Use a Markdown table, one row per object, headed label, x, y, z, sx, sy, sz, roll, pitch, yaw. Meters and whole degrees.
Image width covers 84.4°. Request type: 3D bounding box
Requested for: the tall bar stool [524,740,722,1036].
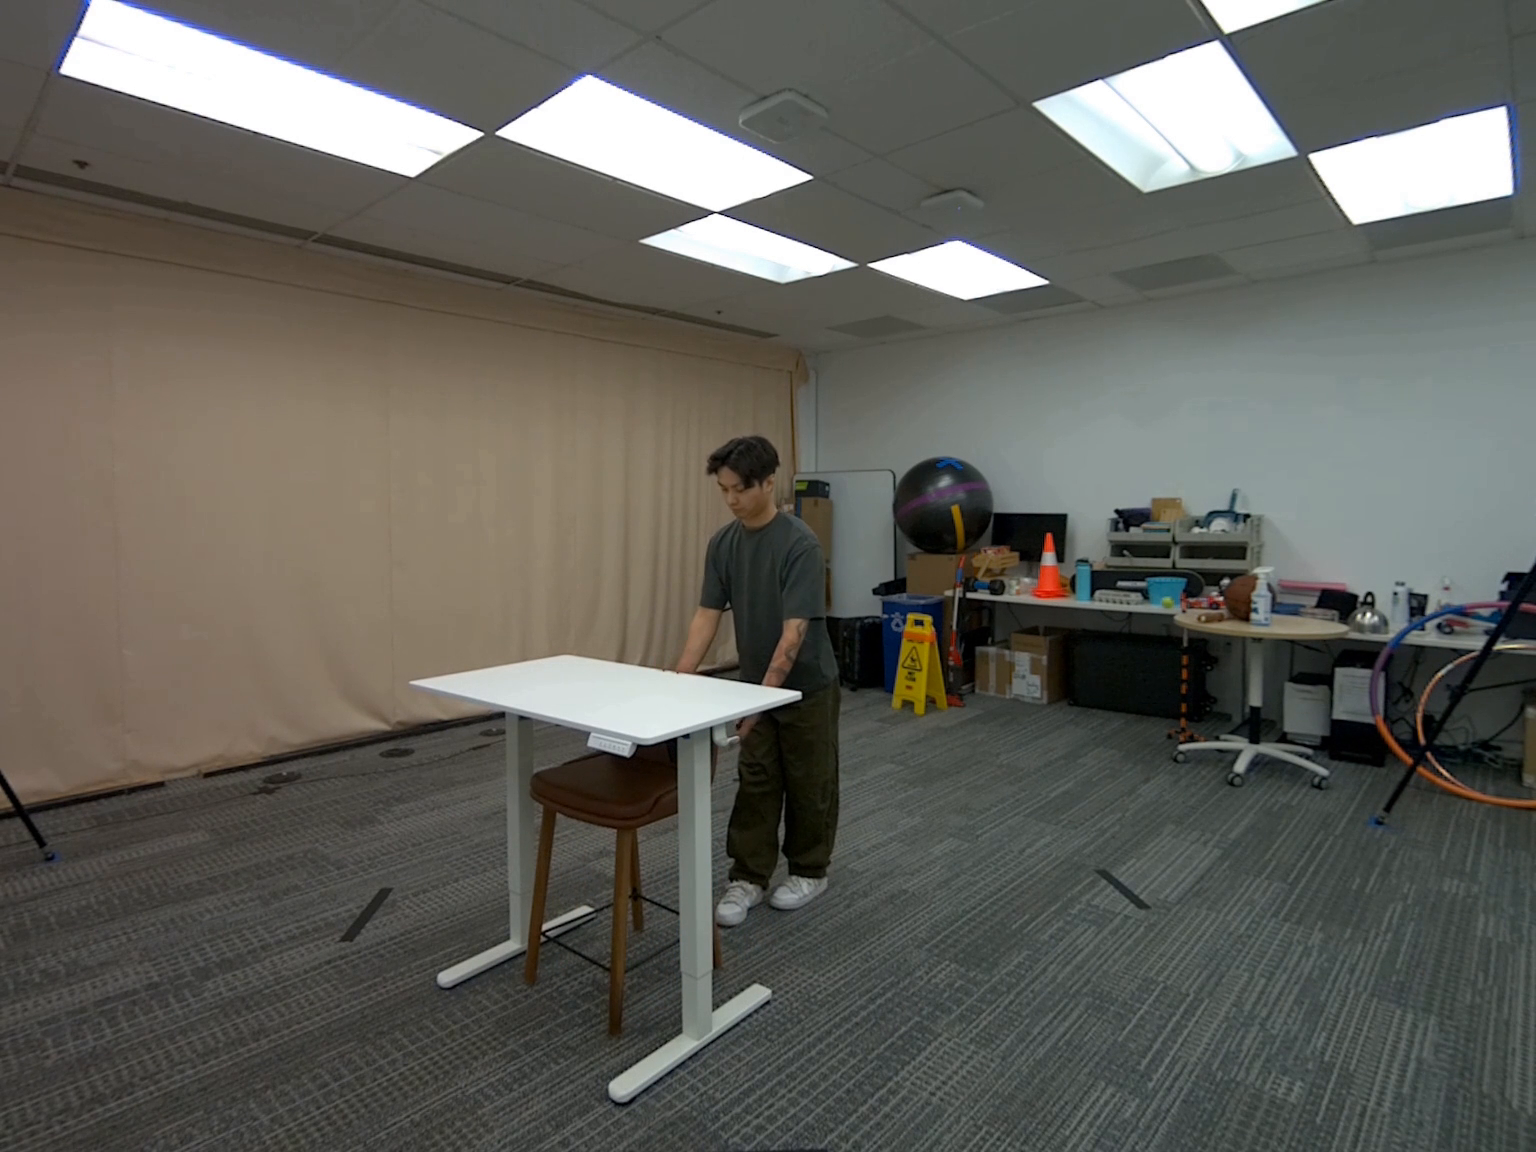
| label | x | y | z | sx | sy | sz | roll | pitch | yaw |
| --- | --- | --- | --- | --- | --- | --- | --- | --- | --- |
| tall bar stool | -0.414 | 0.753 | 2.481 | 0.471 | 0.889 | 0.453 | 2 | 2 | 40 |
